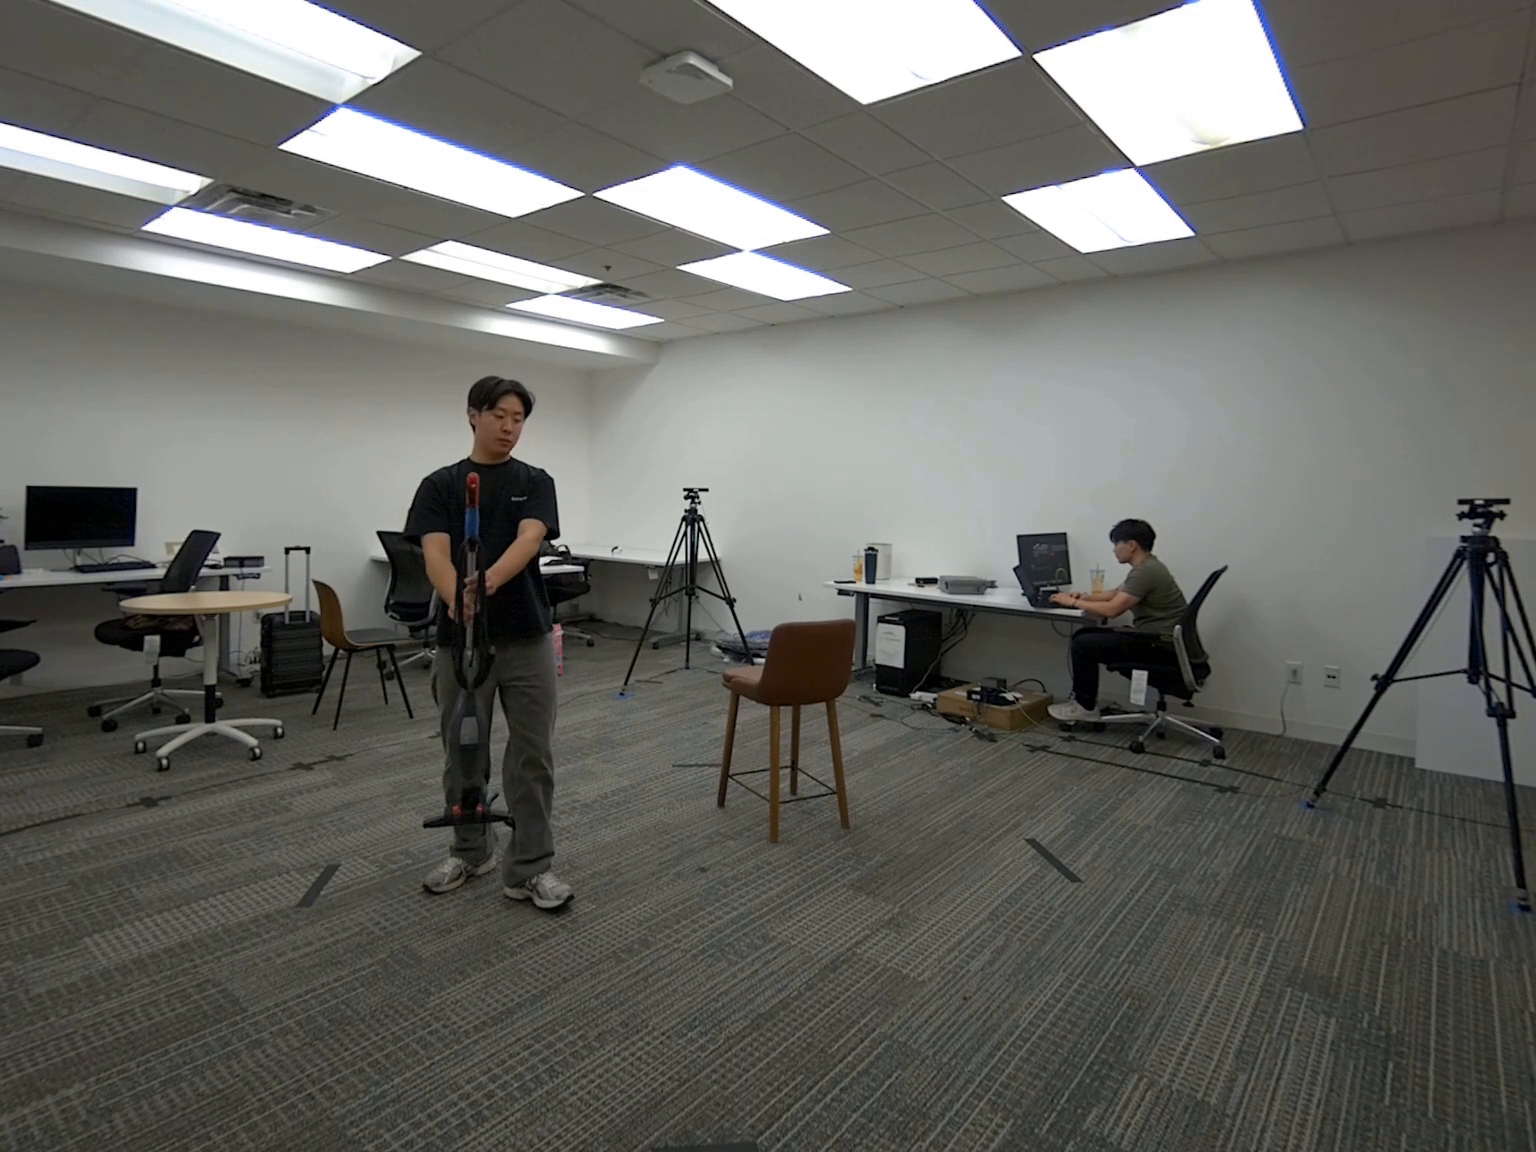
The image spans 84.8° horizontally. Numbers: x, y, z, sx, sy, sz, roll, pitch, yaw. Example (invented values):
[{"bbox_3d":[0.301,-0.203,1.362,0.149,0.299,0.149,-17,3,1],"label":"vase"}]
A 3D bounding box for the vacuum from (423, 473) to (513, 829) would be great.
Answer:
[{"bbox_3d":[-0.878,0.229,2.454,0.249,1.038,0.148,3,13,-14],"label":"vacuum"}]
